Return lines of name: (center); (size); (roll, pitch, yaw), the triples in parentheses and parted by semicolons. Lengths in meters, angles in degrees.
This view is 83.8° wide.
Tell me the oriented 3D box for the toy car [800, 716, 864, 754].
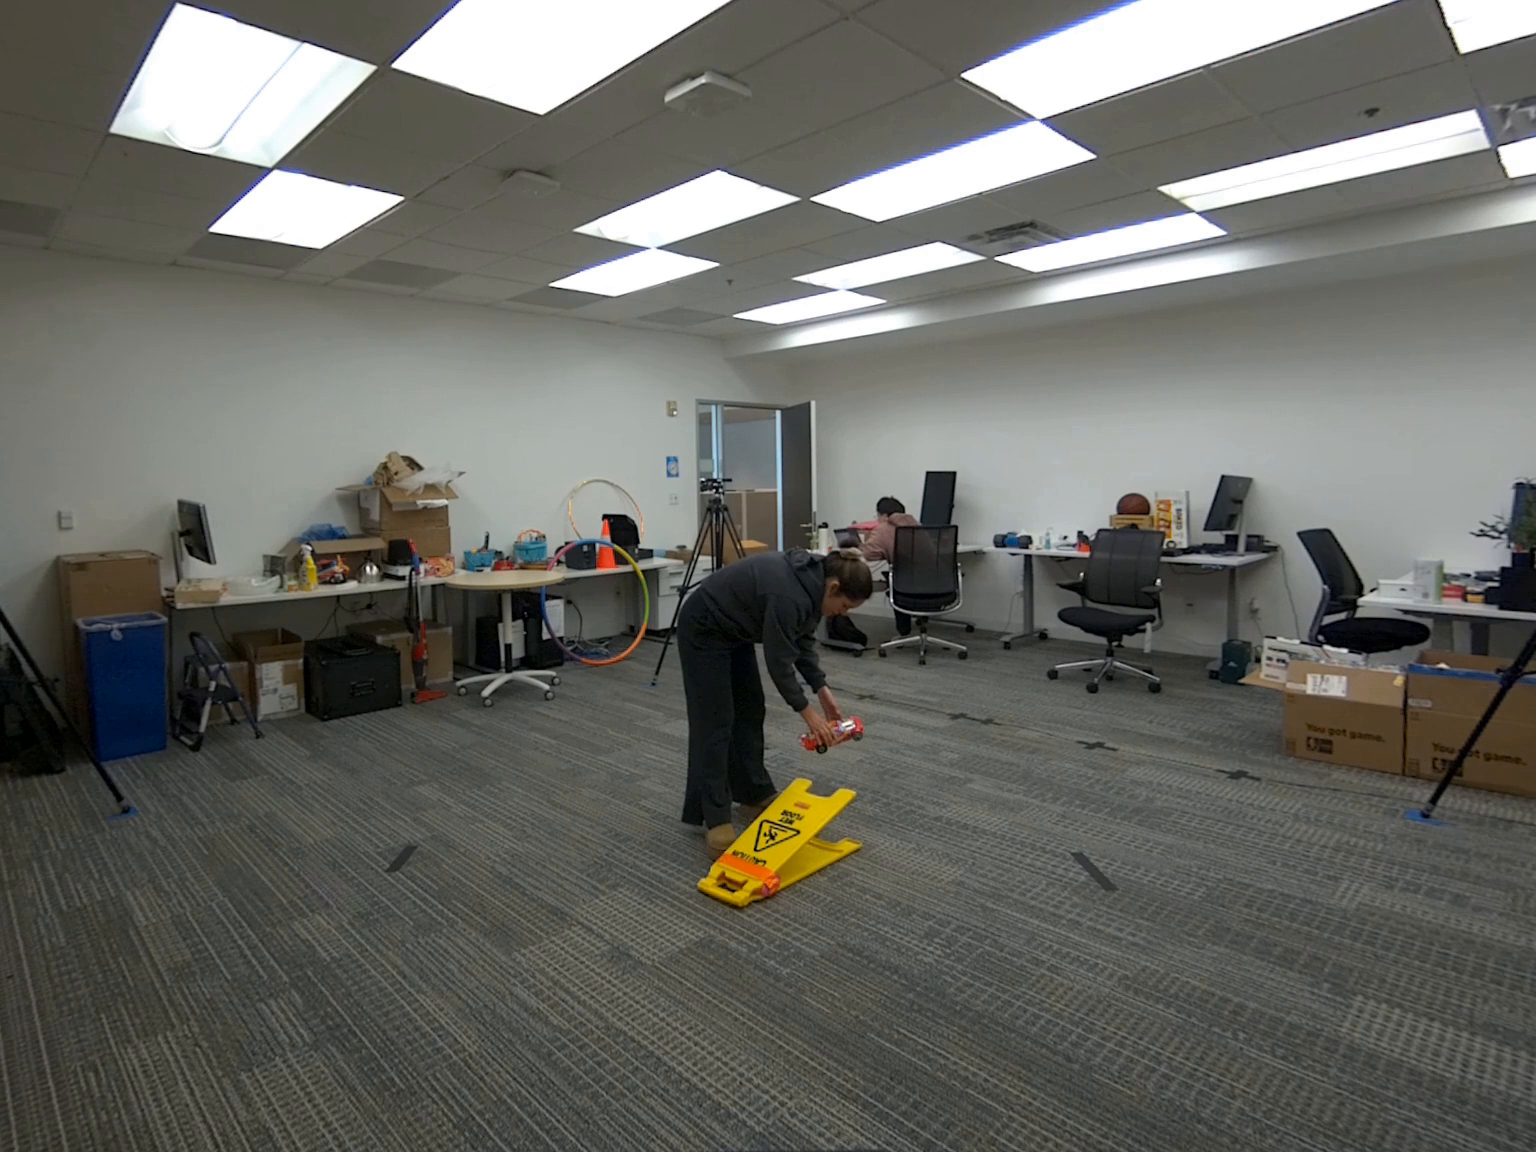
toy car: (0.244, 0.629, 3.335); (0.255, 0.081, 0.132); (-9, 20, 2)
